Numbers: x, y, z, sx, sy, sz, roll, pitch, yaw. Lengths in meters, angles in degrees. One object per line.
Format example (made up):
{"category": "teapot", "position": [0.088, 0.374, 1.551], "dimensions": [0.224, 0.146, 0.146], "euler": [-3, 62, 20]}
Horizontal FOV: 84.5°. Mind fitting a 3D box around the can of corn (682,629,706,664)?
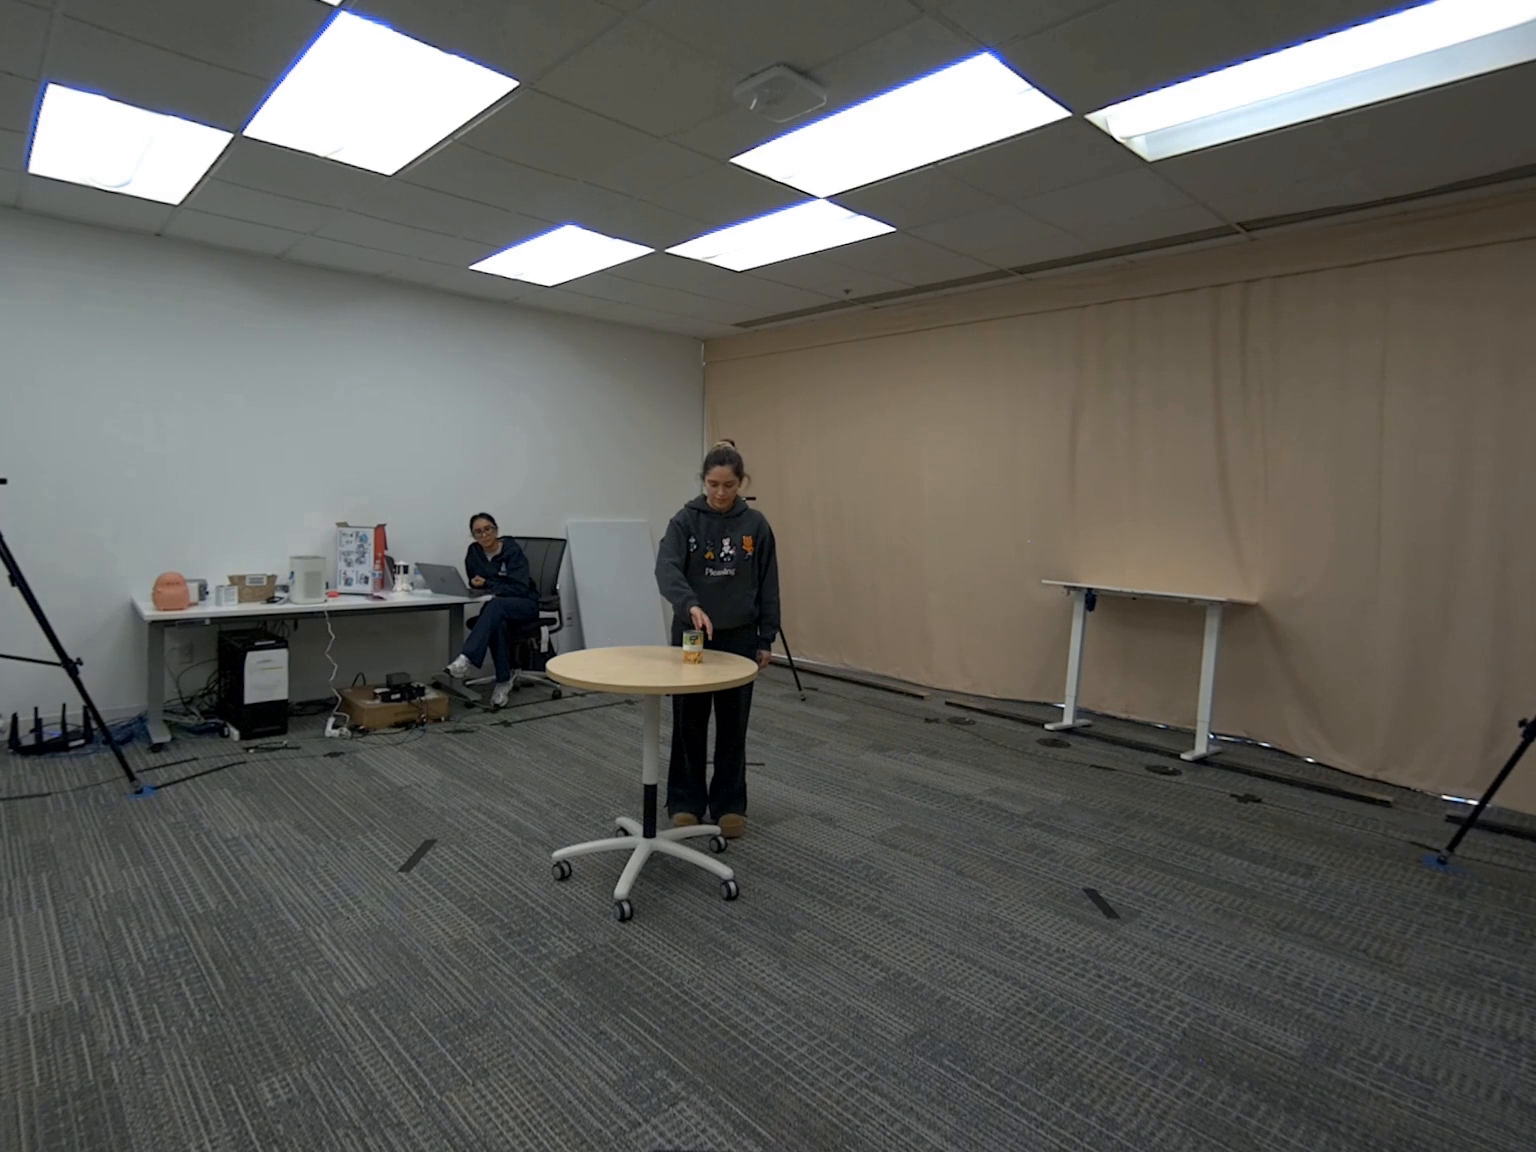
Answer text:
{"category": "can of corn", "position": [-0.294, 0.265, 3.129], "dimensions": [0.074, 0.111, 0.074], "euler": [3, 3, -2]}
